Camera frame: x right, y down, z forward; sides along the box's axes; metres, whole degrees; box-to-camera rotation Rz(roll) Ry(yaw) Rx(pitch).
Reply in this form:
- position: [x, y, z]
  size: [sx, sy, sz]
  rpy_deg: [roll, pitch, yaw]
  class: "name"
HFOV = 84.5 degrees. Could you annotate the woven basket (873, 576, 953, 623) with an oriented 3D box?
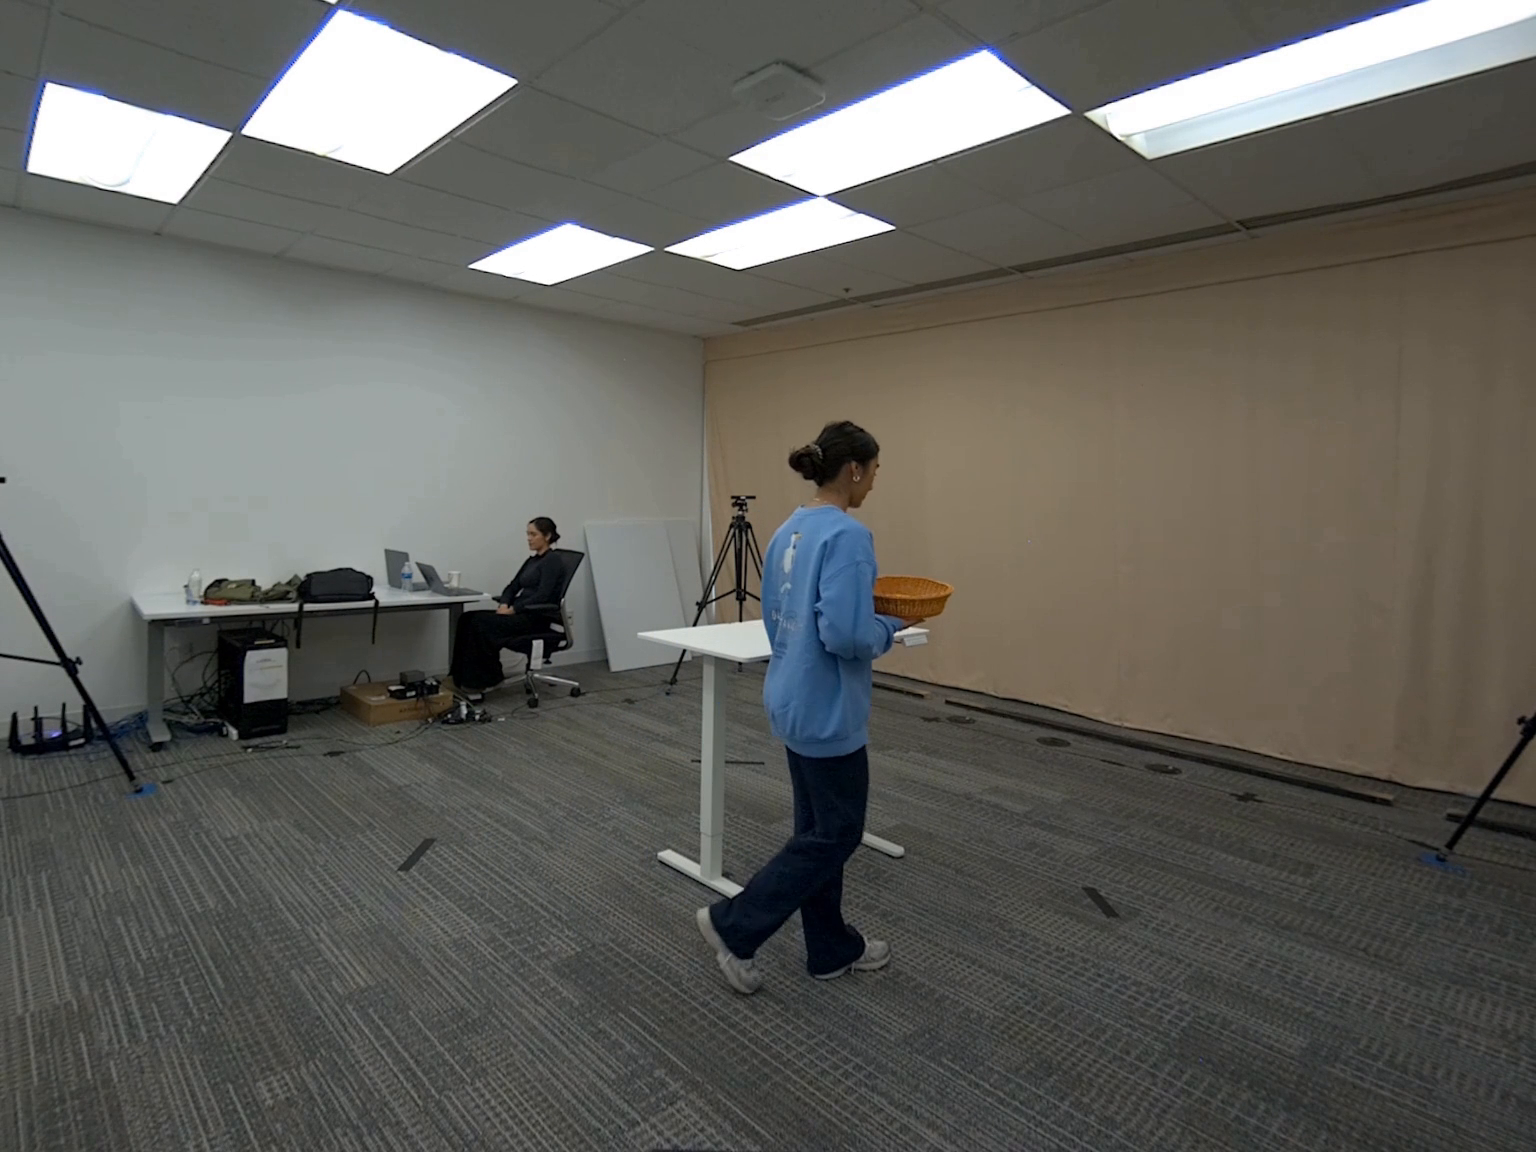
- position: [0.367, 0.068, 2.482]
  size: [0.250, 0.073, 0.356]
  rpy_deg: [-6, 10, -15]
  class: "woven basket"
